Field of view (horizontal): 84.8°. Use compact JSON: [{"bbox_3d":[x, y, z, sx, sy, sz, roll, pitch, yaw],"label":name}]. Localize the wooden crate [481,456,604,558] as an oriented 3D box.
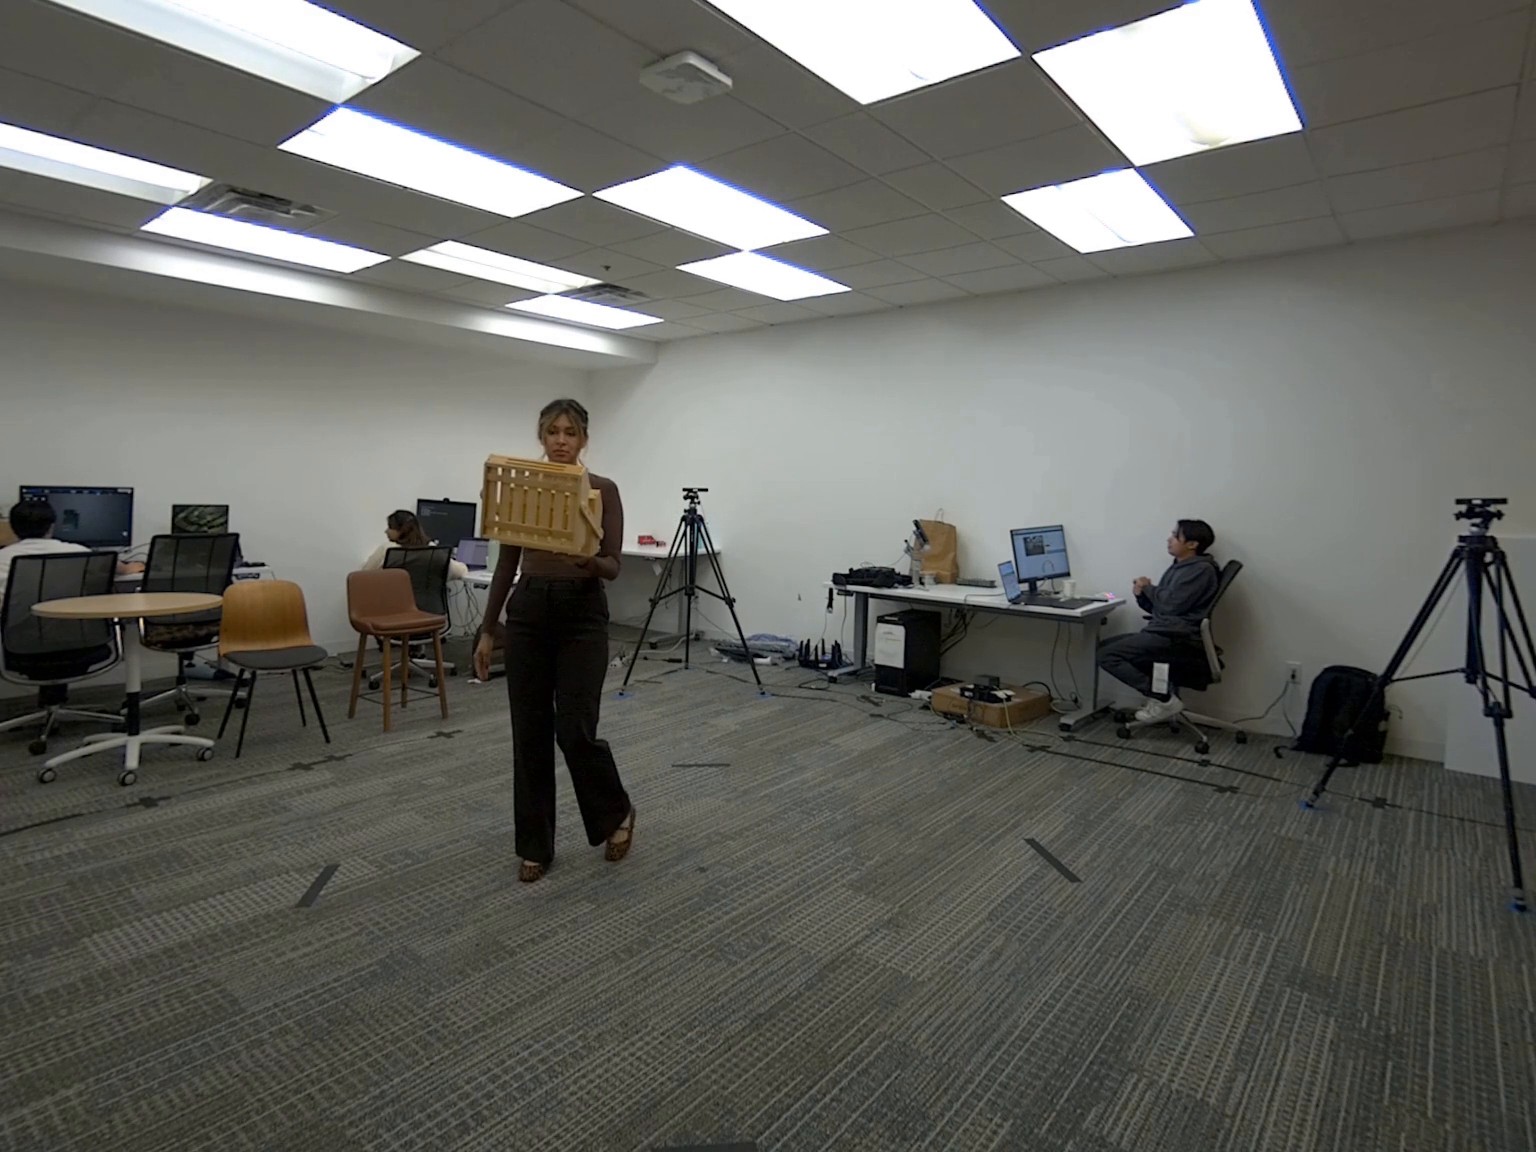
[{"bbox_3d":[-0.717,-0.224,2.659,0.327,0.299,0.273,8,11,6],"label":"wooden crate"}]
